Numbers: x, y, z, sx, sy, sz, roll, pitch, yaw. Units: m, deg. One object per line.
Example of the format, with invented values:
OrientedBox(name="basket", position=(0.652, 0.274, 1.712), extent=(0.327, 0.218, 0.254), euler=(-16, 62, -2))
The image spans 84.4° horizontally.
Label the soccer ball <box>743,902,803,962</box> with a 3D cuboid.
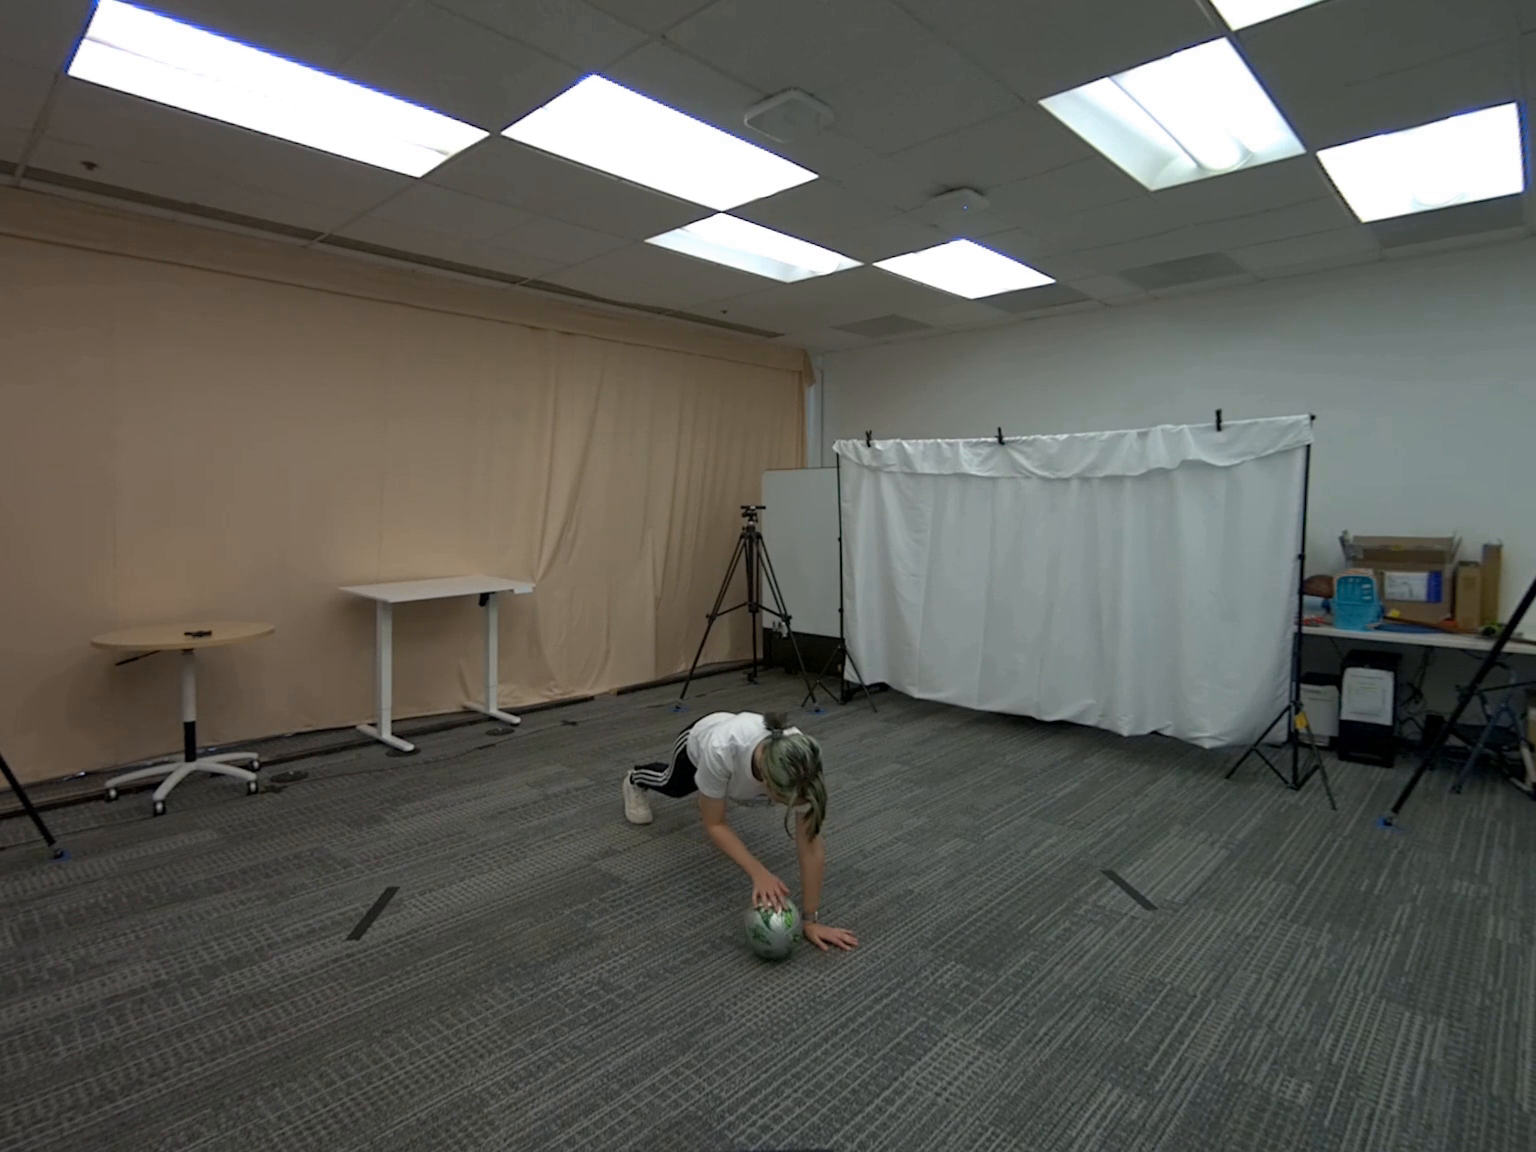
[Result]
OrientedBox(name="soccer ball", position=(0.010, 1.080, 2.607), extent=(0.187, 0.187, 0.188), euler=(0, 4, -2))
